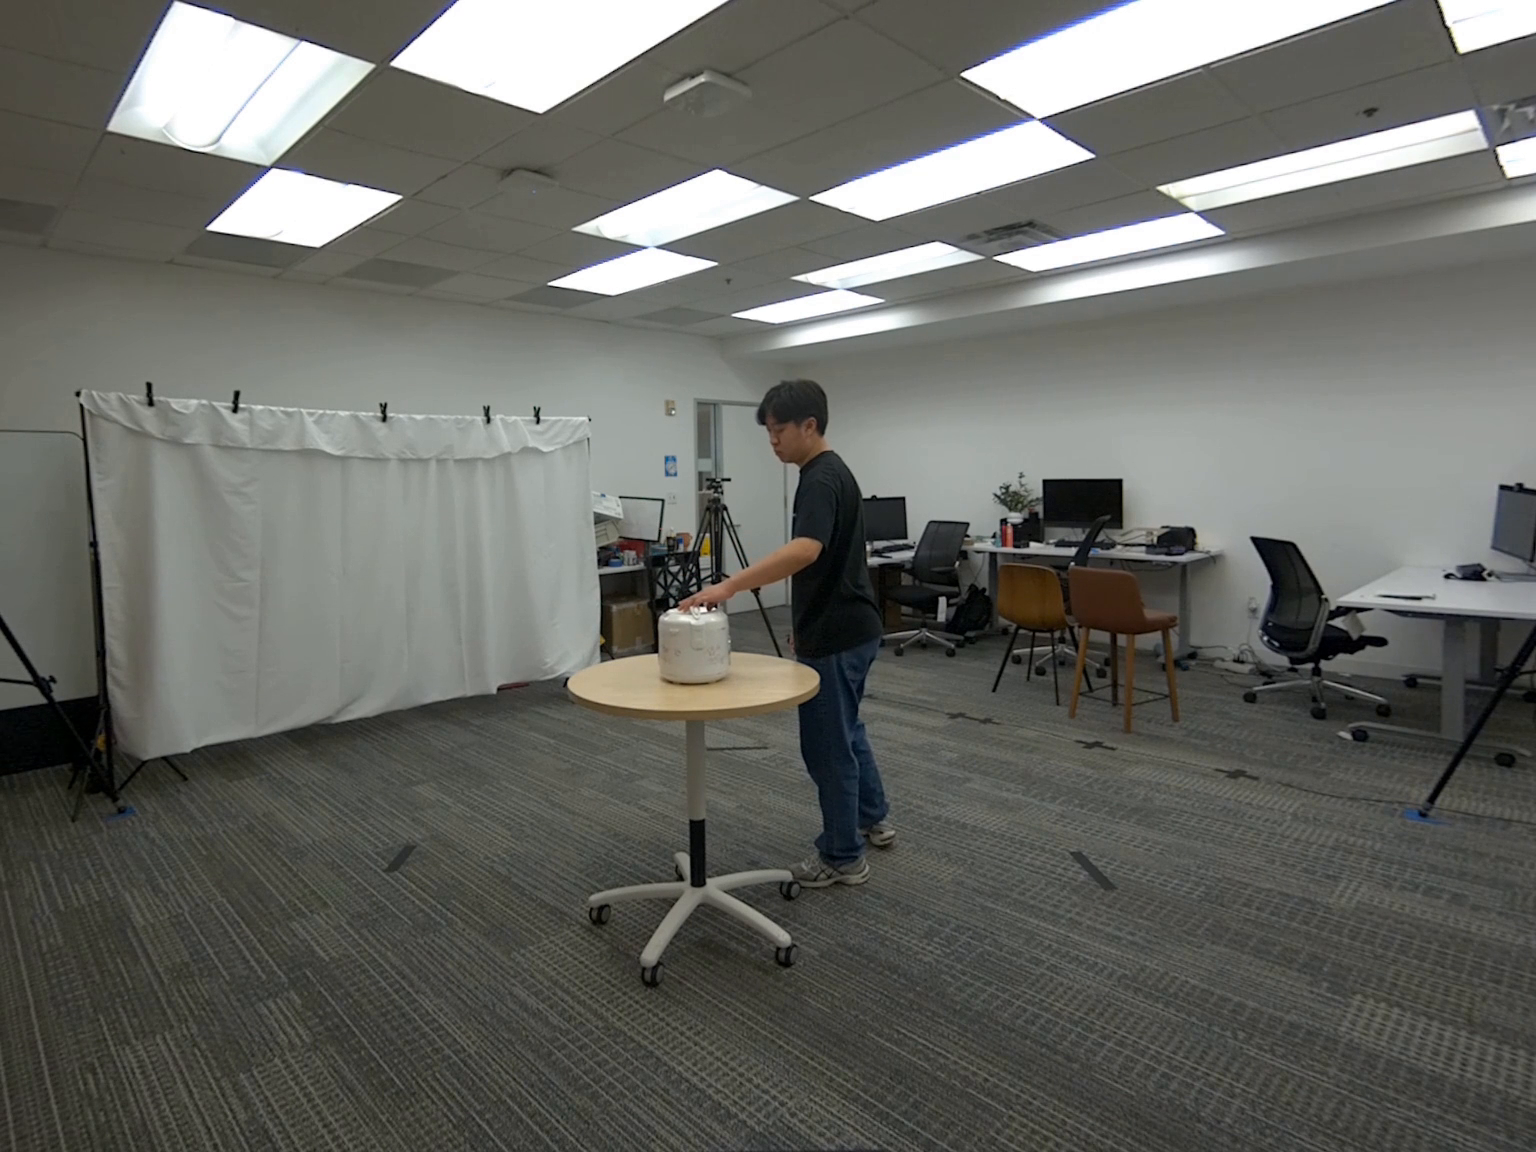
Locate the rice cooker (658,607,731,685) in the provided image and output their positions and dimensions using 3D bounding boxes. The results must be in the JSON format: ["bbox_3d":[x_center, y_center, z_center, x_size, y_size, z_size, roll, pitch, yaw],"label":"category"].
[{"bbox_3d":[-0.219,0.196,2.587,0.215,0.232,0.224,-1,6,-10],"label":"rice cooker"}]
